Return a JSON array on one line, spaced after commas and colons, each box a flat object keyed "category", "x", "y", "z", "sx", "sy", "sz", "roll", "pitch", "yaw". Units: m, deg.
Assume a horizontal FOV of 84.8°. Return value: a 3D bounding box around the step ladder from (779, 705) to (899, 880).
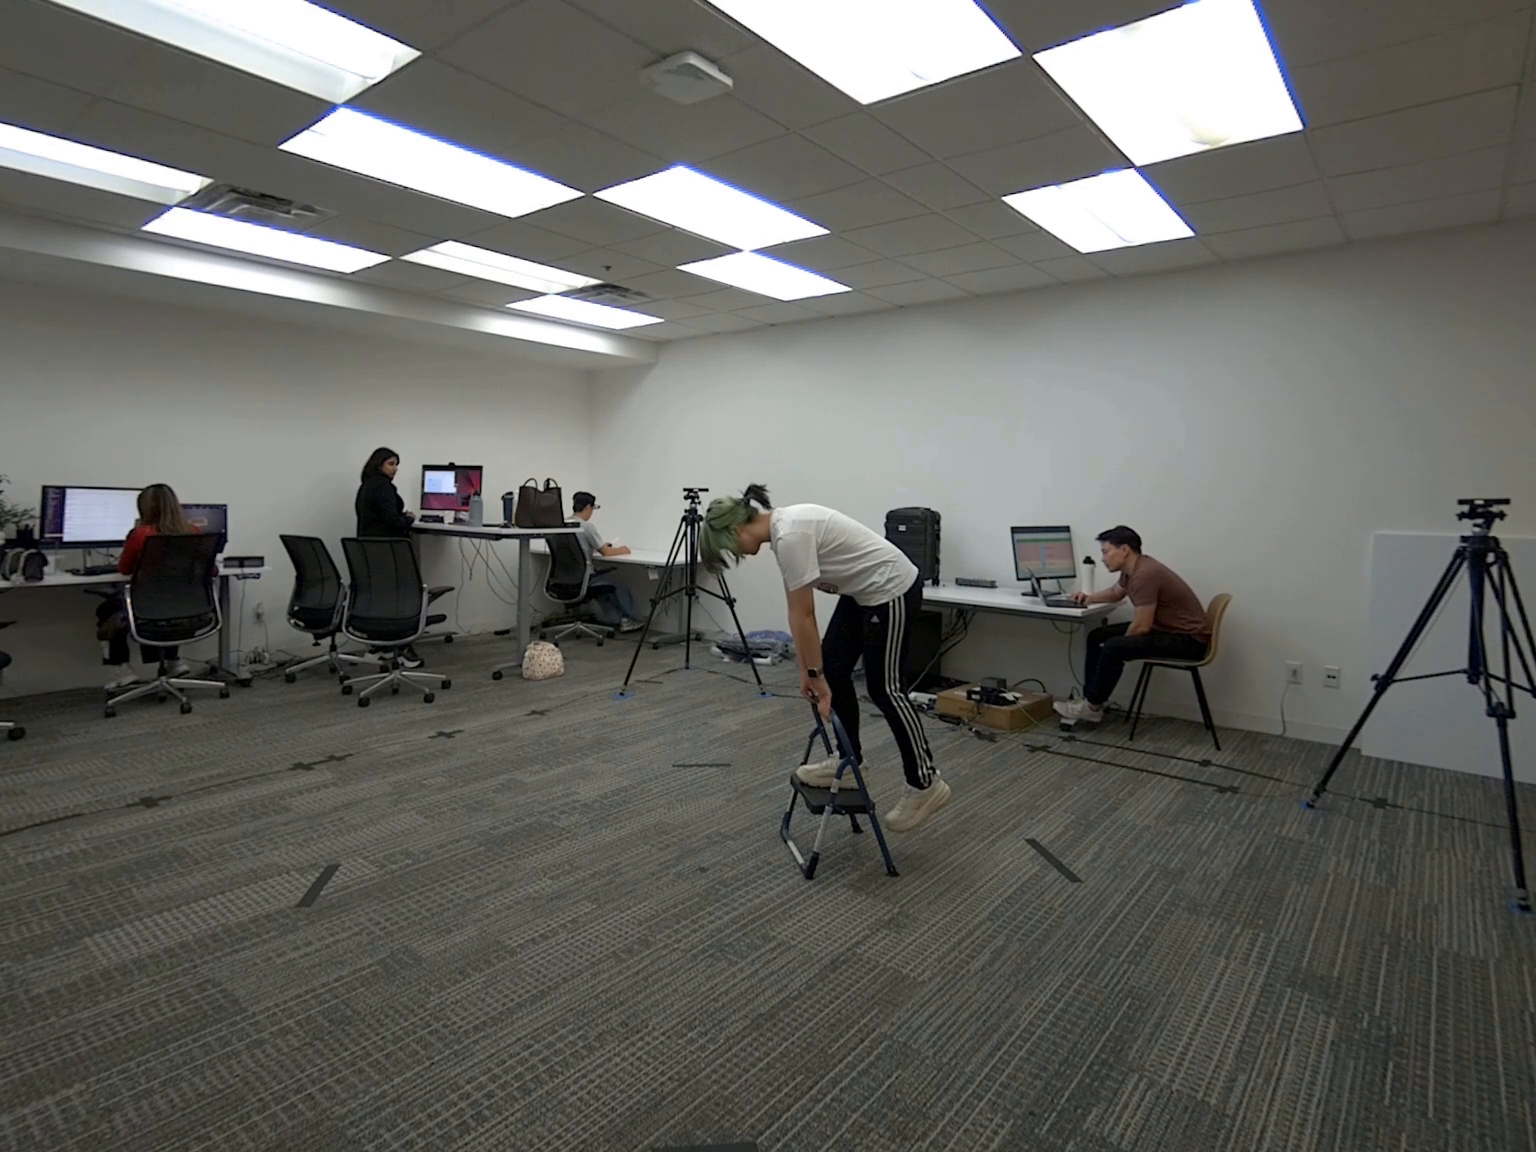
[{"category": "step ladder", "x": 0.260, "y": 0.768, "z": 3.254, "sx": 0.345, "sy": 0.604, "sz": 0.437, "roll": 1, "pitch": 4, "yaw": -12}]
